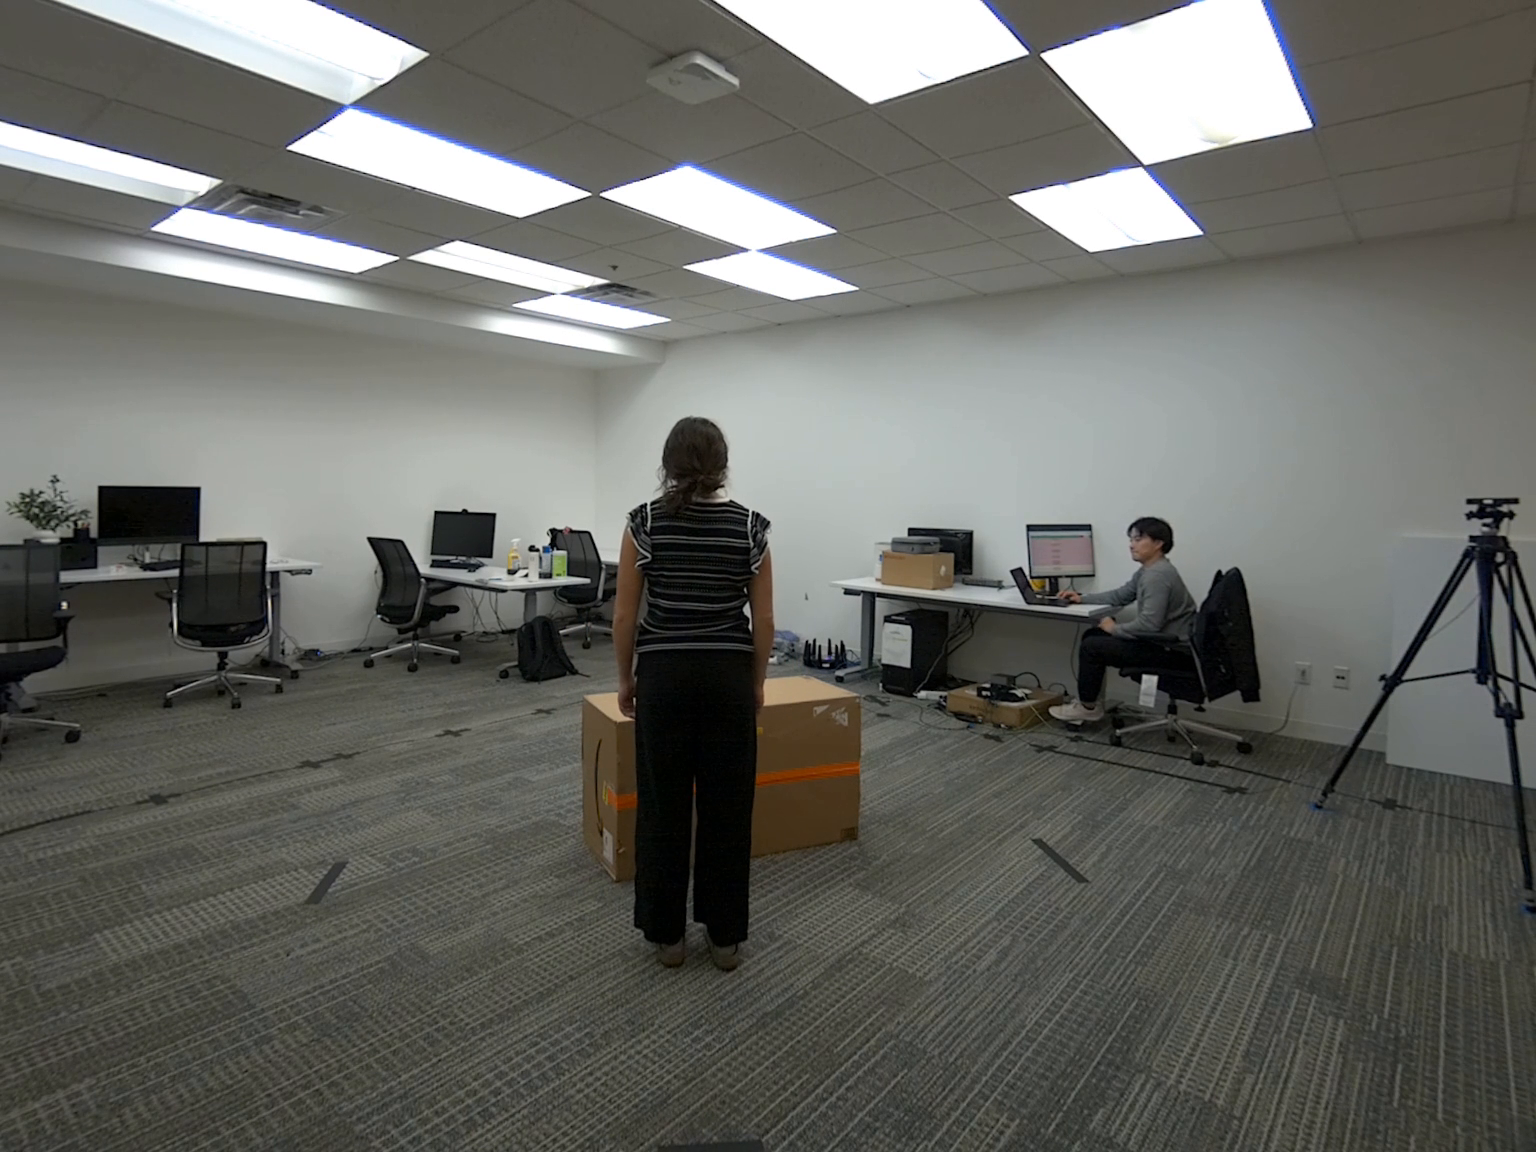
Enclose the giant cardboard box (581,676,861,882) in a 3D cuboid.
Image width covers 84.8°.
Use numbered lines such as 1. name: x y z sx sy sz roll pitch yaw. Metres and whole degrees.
1. giant cardboard box: -0.191 0.755 3.369 1.001 0.576 0.438 -2 4 -26
